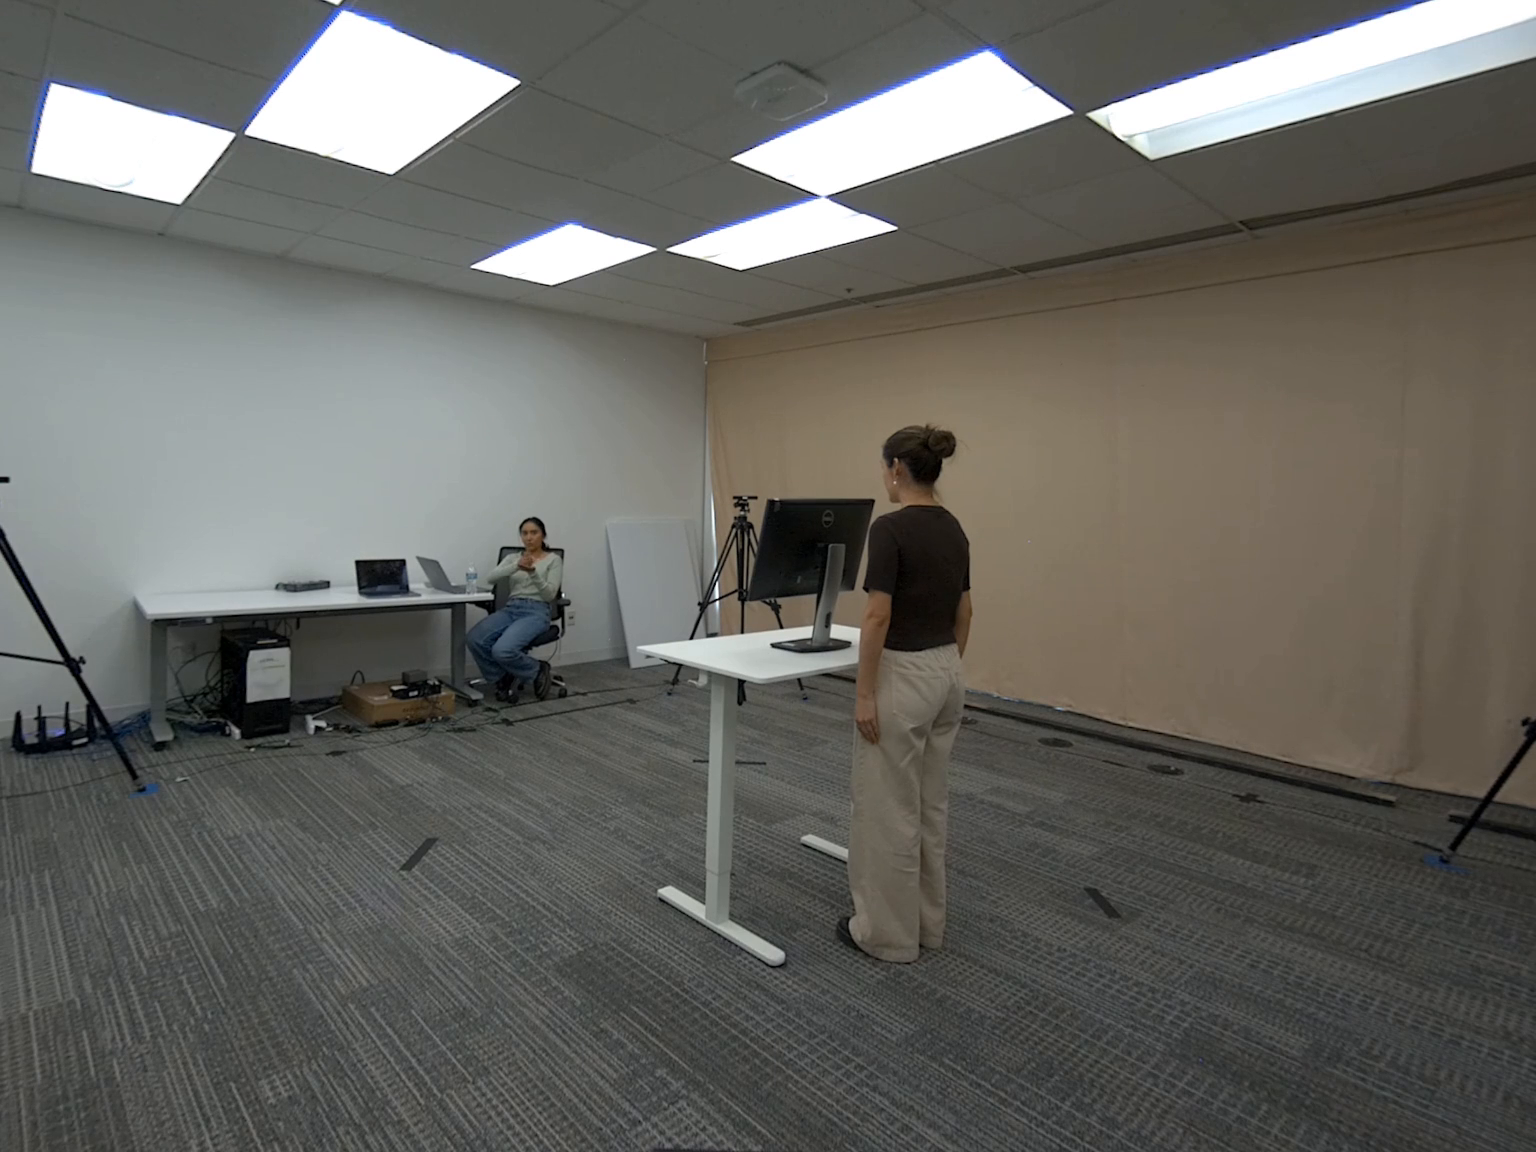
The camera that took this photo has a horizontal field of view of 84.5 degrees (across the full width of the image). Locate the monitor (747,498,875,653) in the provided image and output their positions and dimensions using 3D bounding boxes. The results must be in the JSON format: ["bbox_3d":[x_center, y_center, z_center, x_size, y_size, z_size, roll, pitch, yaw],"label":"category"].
[{"bbox_3d":[0.166,-0.005,2.892,0.527,0.521,0.192,-3,7,-44],"label":"monitor"}]
